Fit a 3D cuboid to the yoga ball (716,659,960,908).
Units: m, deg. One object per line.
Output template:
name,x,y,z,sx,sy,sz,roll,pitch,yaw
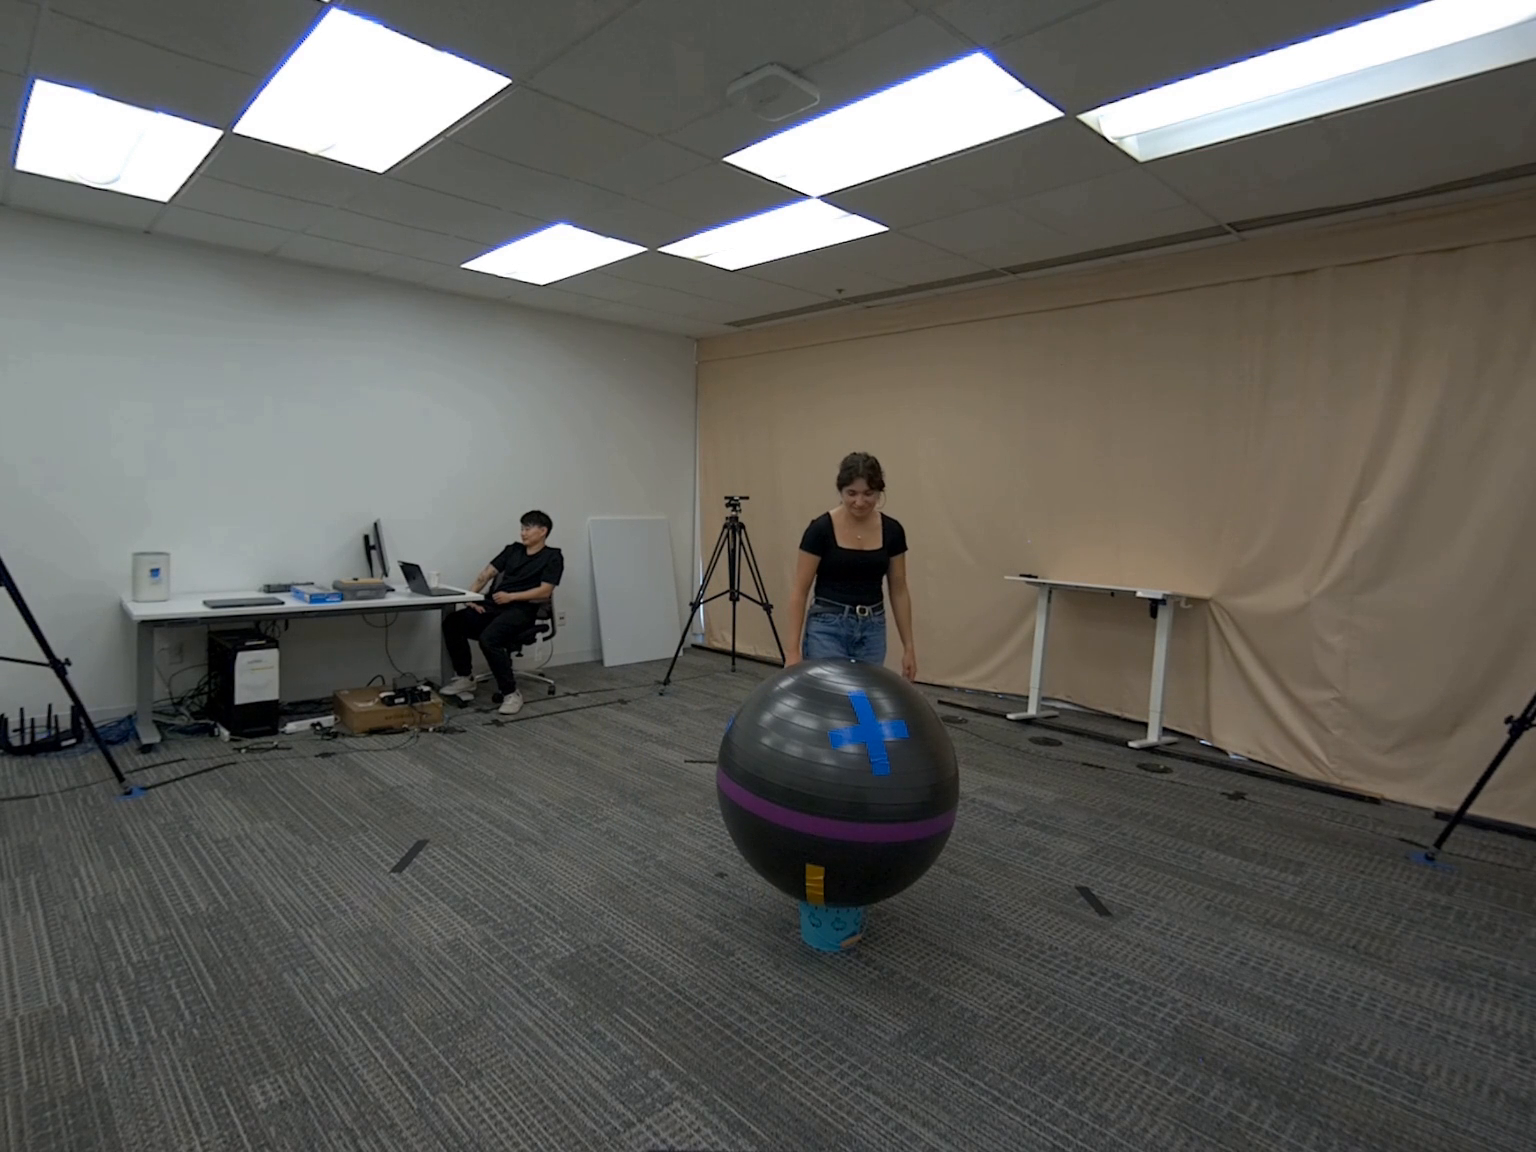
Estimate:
yoga ball,0.215,0.644,2.652,0.757,0.756,0.761,1,4,-1
